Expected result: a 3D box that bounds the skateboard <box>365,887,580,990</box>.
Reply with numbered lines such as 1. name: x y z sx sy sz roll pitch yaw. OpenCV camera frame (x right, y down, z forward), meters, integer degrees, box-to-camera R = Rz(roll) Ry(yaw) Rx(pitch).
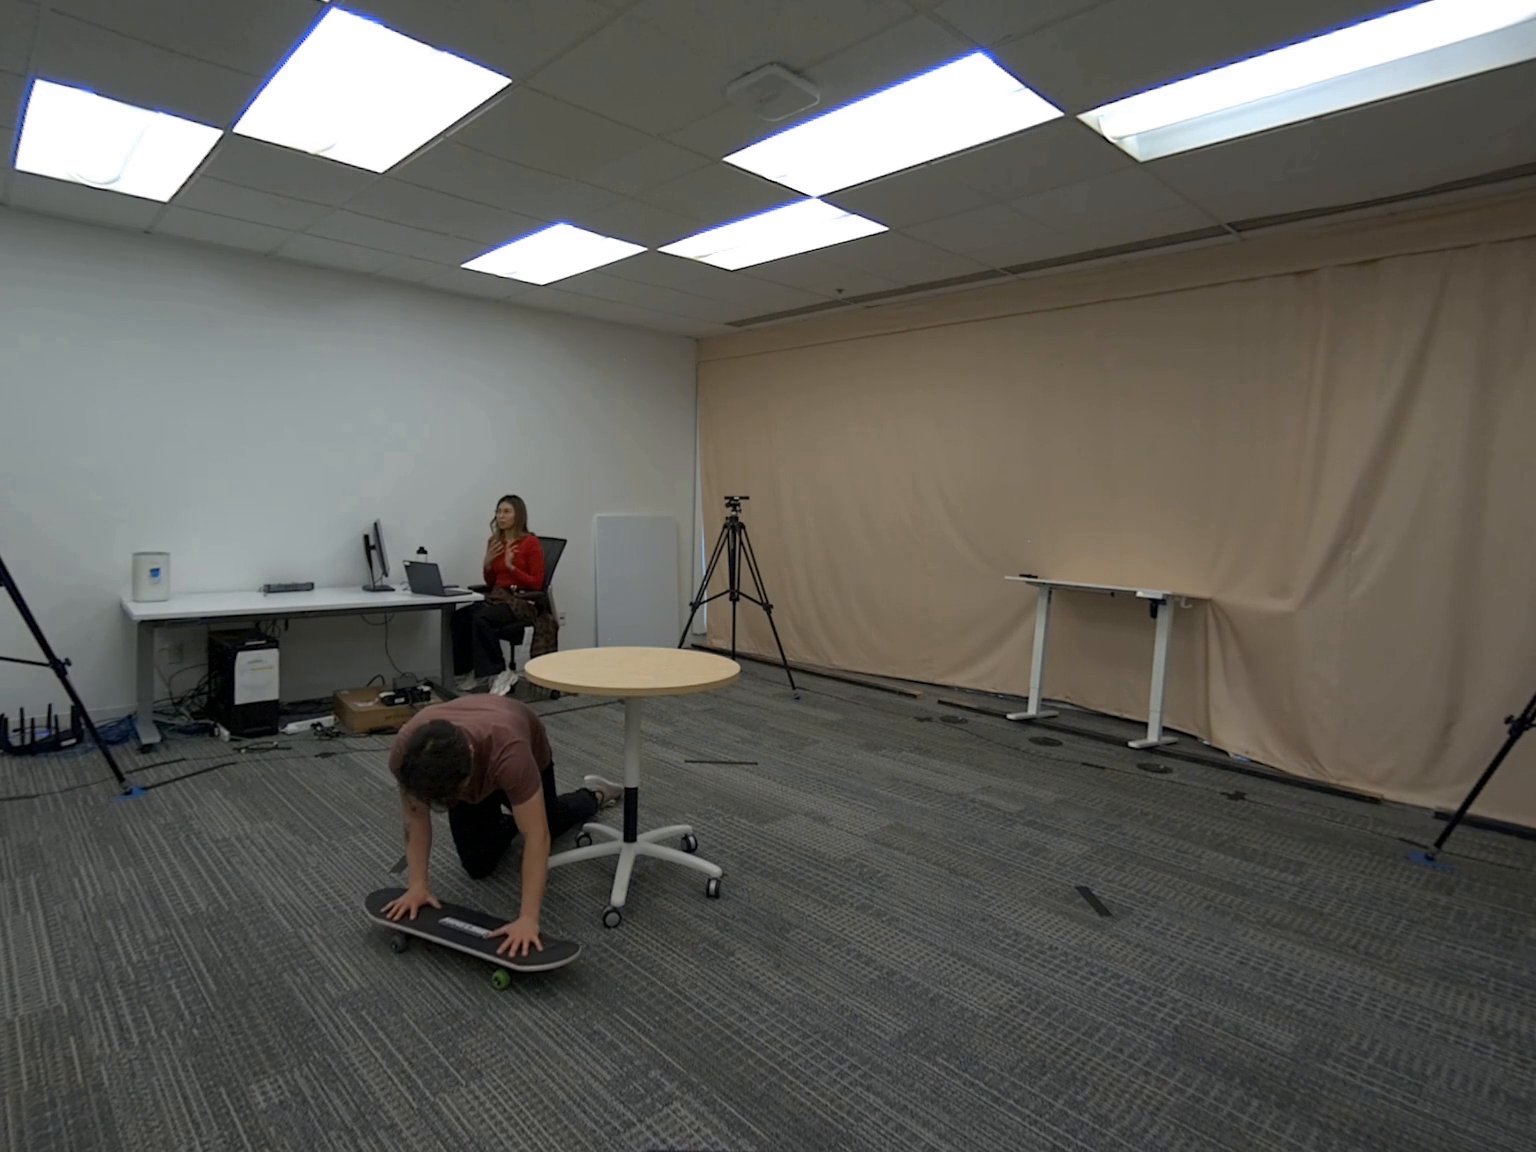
1. skateboard: -0.894 1.089 2.523 0.801 0.110 0.190 4 5 27
